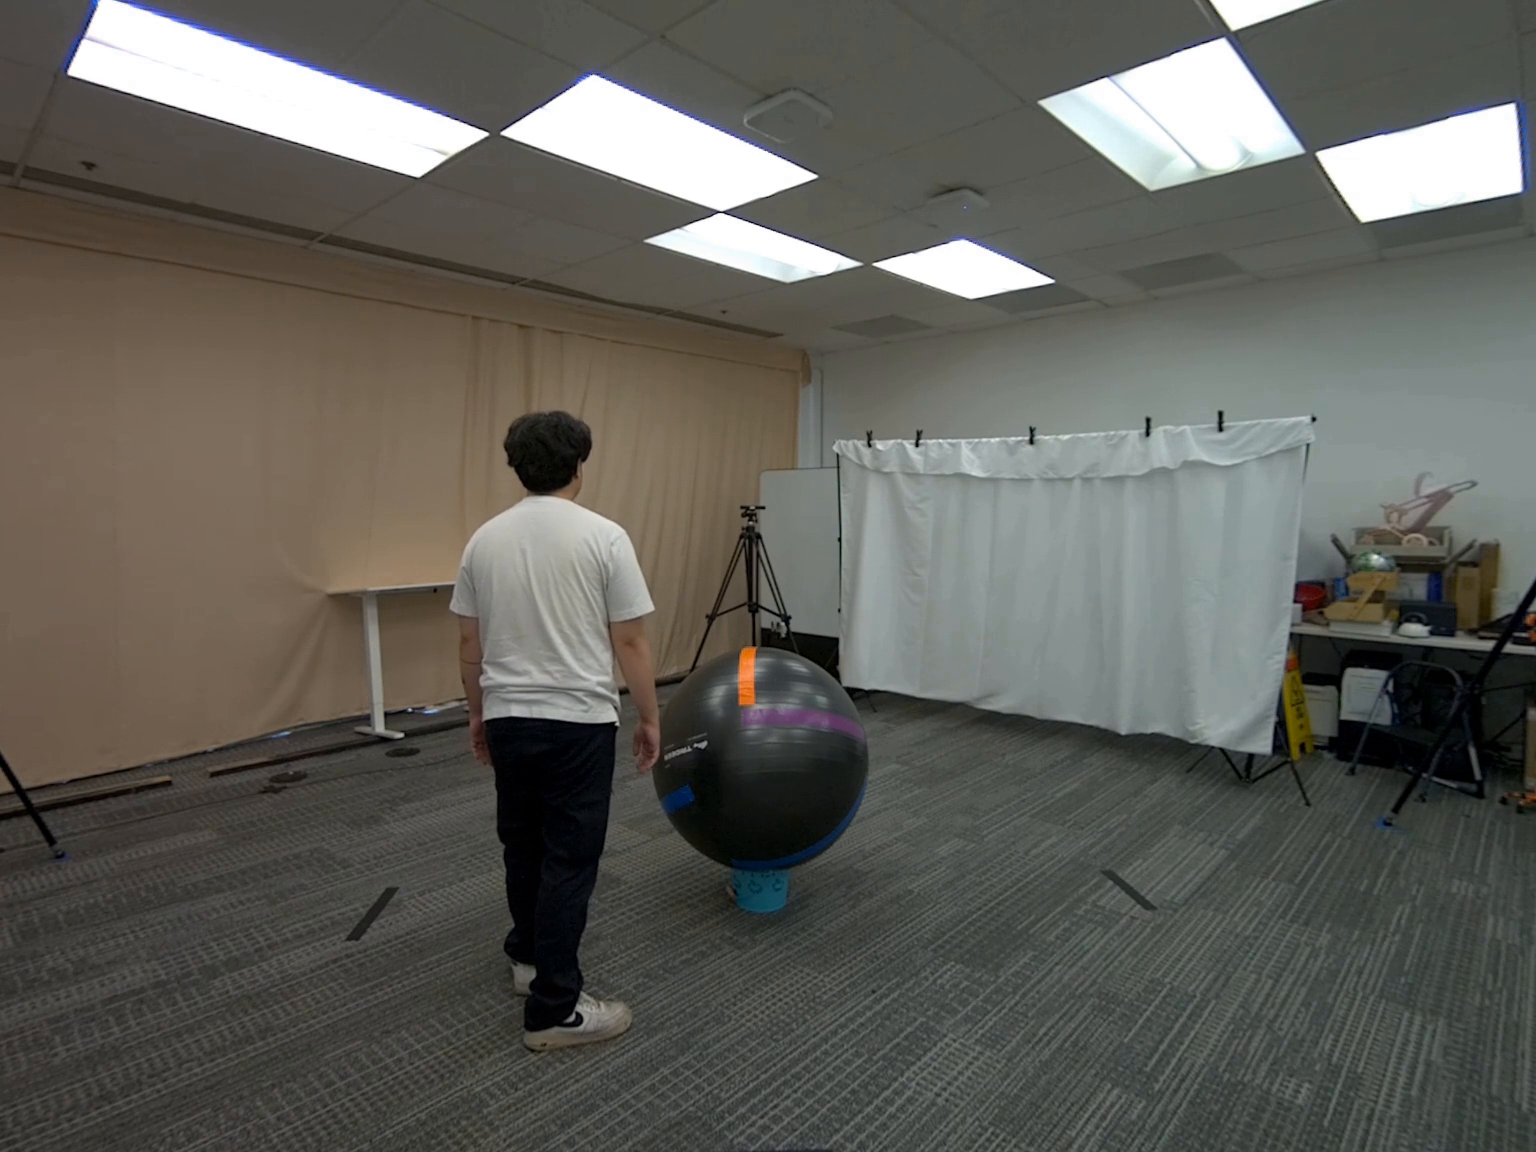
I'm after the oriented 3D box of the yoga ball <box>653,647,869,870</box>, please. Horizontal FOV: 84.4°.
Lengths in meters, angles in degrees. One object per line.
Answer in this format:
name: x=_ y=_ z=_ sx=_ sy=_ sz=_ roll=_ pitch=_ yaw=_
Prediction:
yoga ball: x=-0.030 y=0.635 z=2.952 sx=0.757 sy=0.756 sz=0.761 roll=0 pitch=4 yaw=-2
